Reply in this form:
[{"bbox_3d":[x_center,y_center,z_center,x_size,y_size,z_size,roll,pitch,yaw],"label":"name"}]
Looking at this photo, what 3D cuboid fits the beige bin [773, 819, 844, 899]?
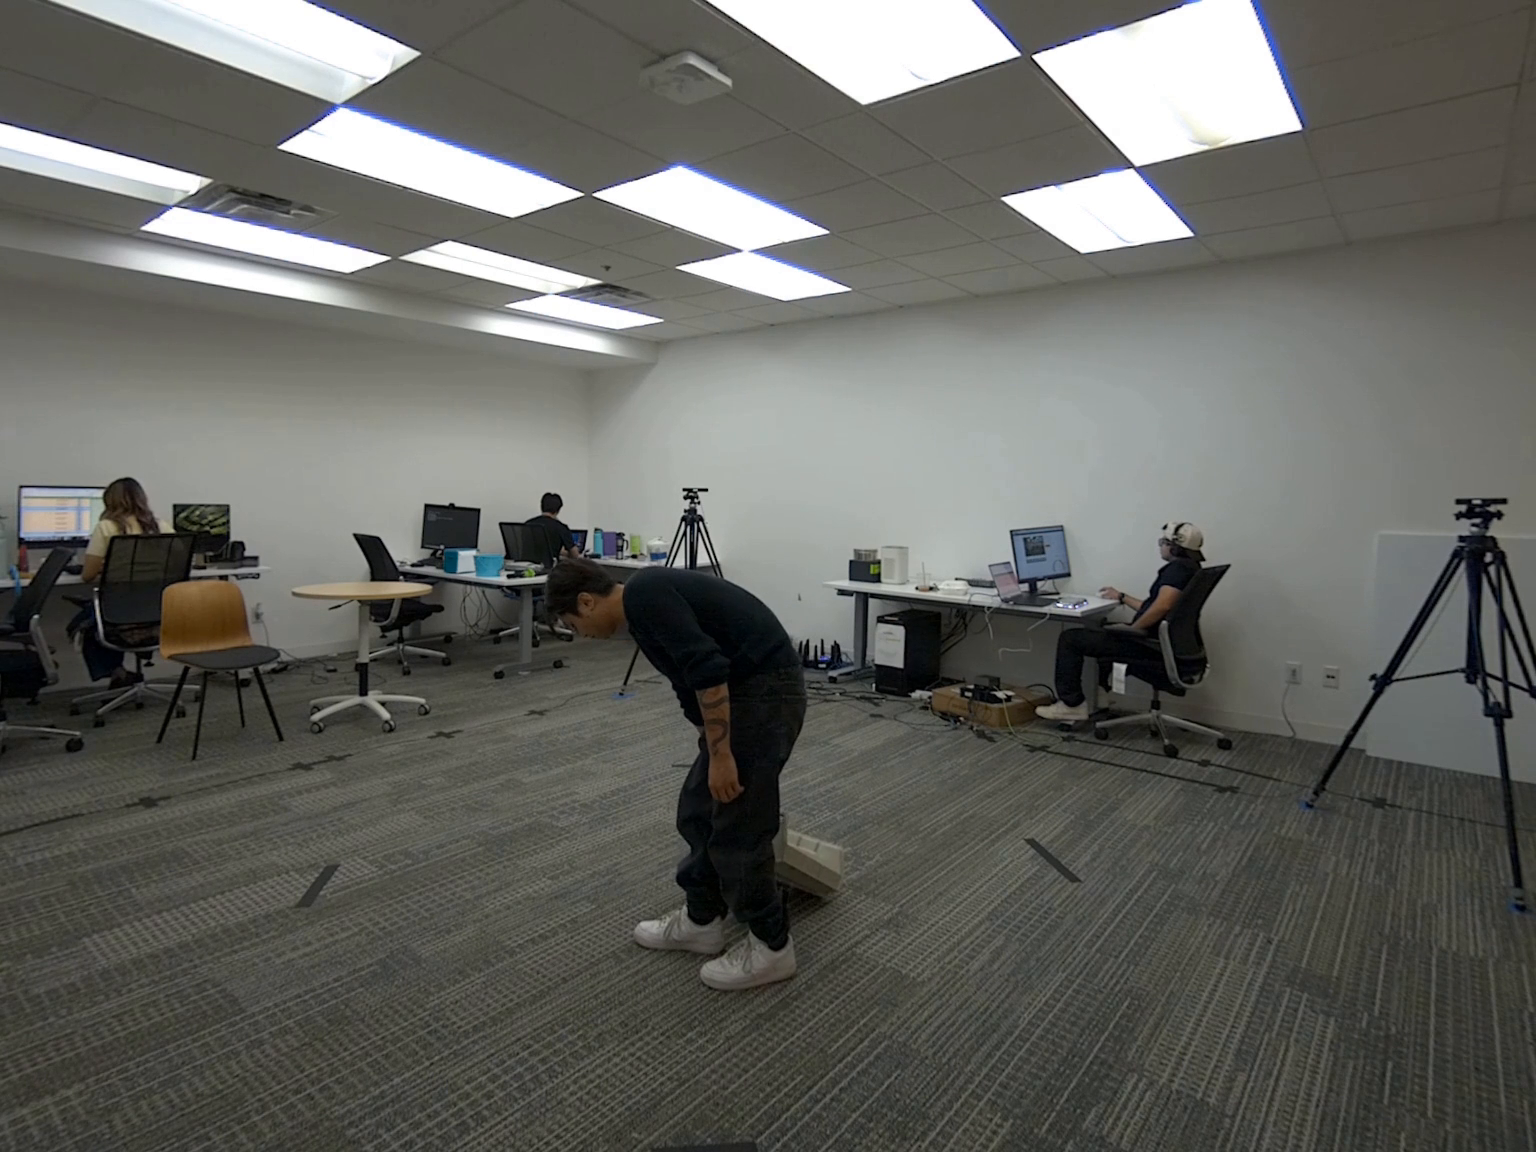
[{"bbox_3d":[0.001,0.905,2.883,0.389,0.191,0.404,3,-27,37],"label":"beige bin"}]
